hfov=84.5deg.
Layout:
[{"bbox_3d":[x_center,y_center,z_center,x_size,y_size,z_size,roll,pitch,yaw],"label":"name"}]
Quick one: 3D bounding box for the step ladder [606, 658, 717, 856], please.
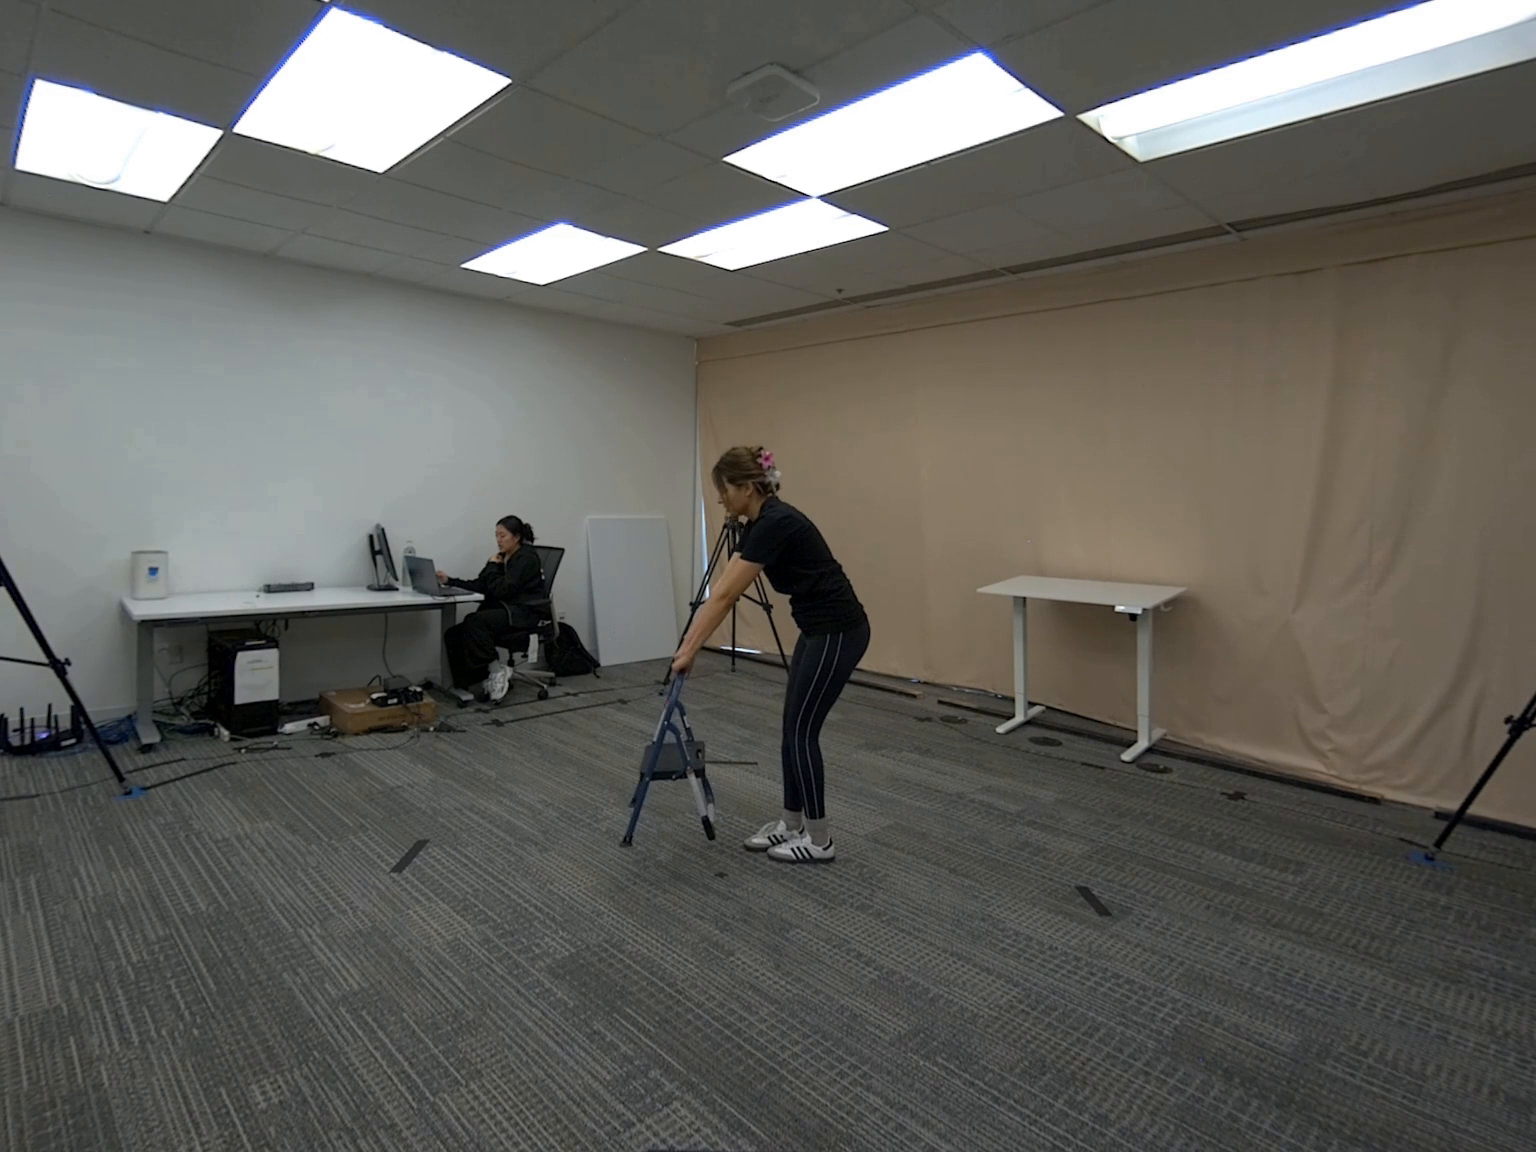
[{"bbox_3d":[-0.402,0.666,3.234,0.348,0.604,0.433,-4,4,-5],"label":"step ladder"}]
